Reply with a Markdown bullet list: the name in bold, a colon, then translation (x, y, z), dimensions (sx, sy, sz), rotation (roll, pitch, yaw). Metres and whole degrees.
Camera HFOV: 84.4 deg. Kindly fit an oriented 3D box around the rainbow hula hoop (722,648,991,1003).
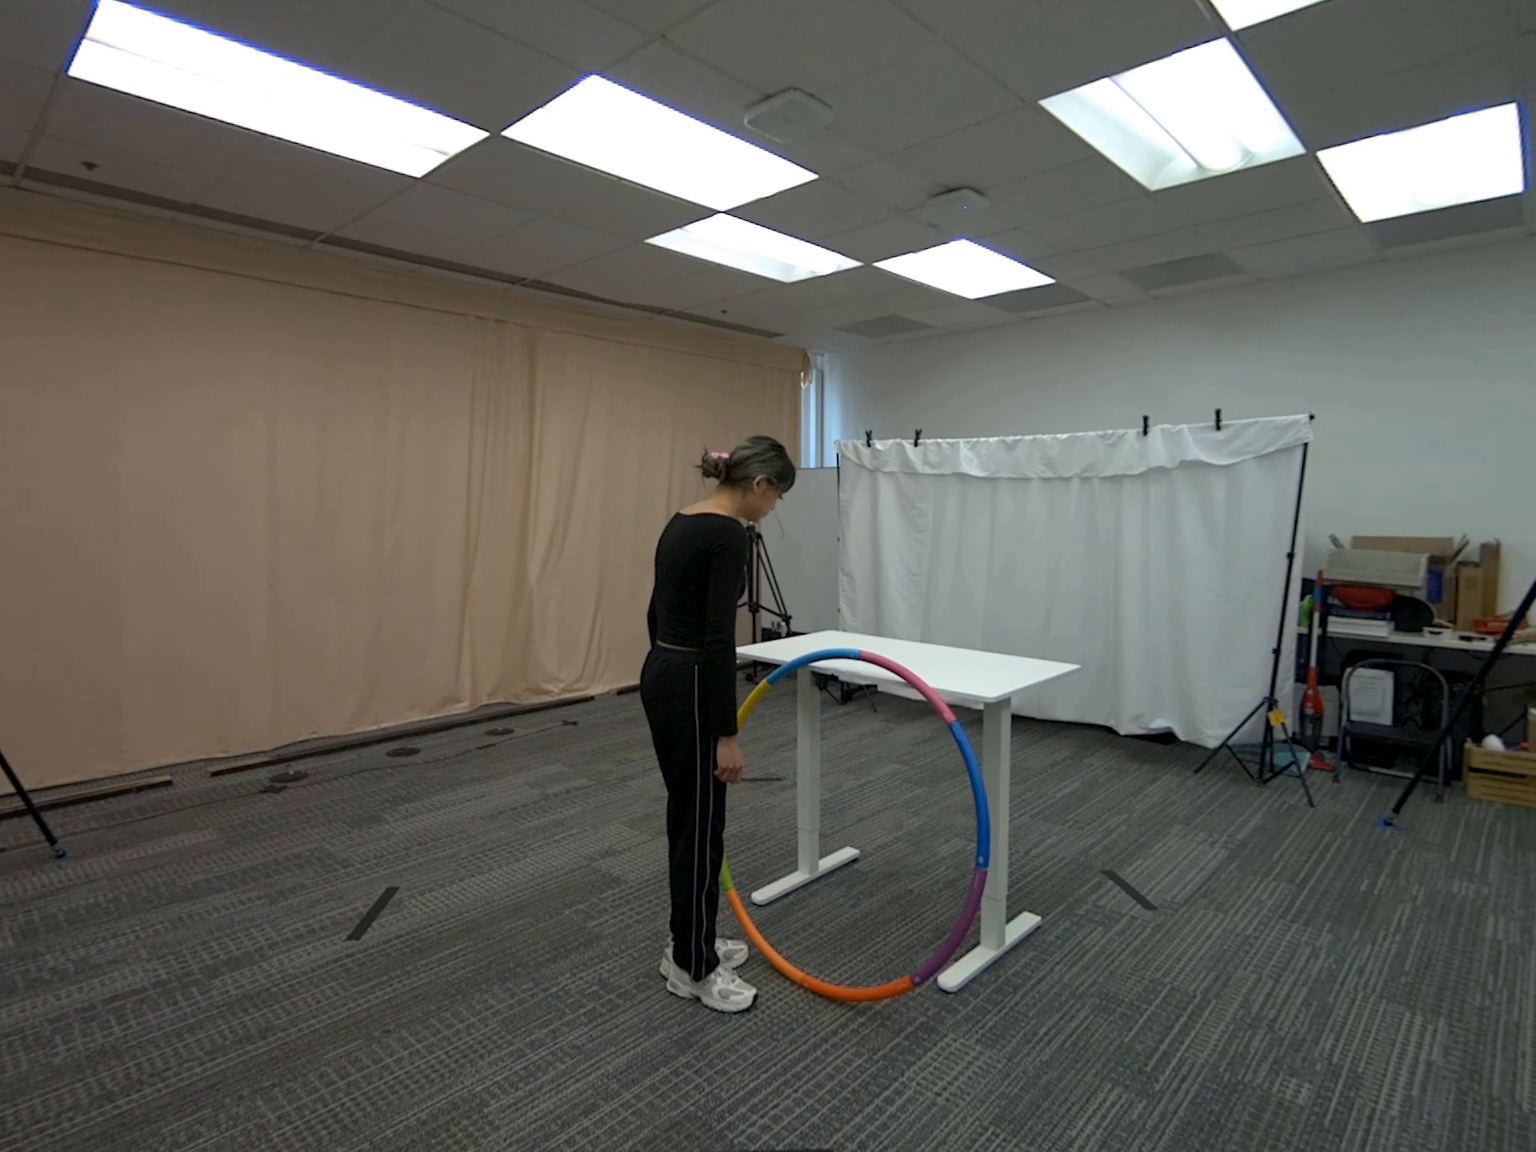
- **rainbow hula hoop**: translation (0.196, 0.712, 2.499), dimensions (1.011, 0.982, 0.034), rotation (3, -10, 42)
